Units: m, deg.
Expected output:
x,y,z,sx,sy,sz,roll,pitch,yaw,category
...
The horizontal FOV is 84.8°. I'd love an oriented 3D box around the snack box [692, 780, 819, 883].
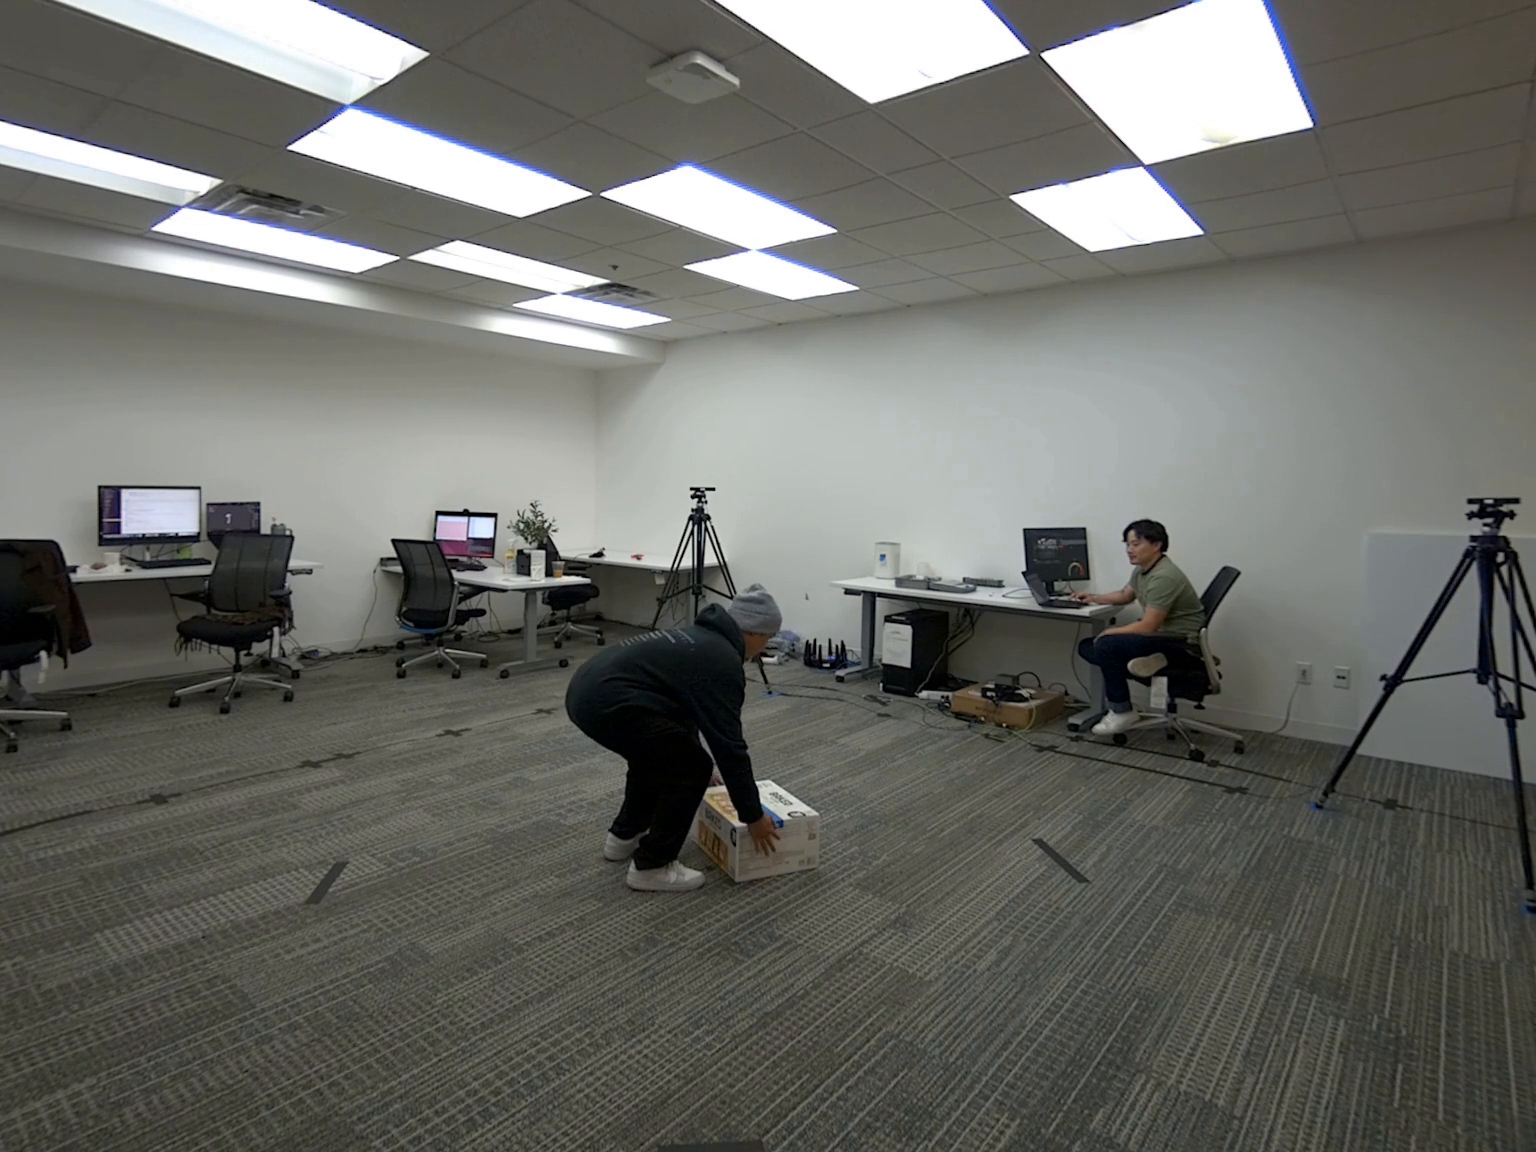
x,y,z,sx,sy,sz,roll,pitch,yaw,category
-0.062,0.956,3.233,0.332,0.205,0.416,-1,6,-26,snack box
